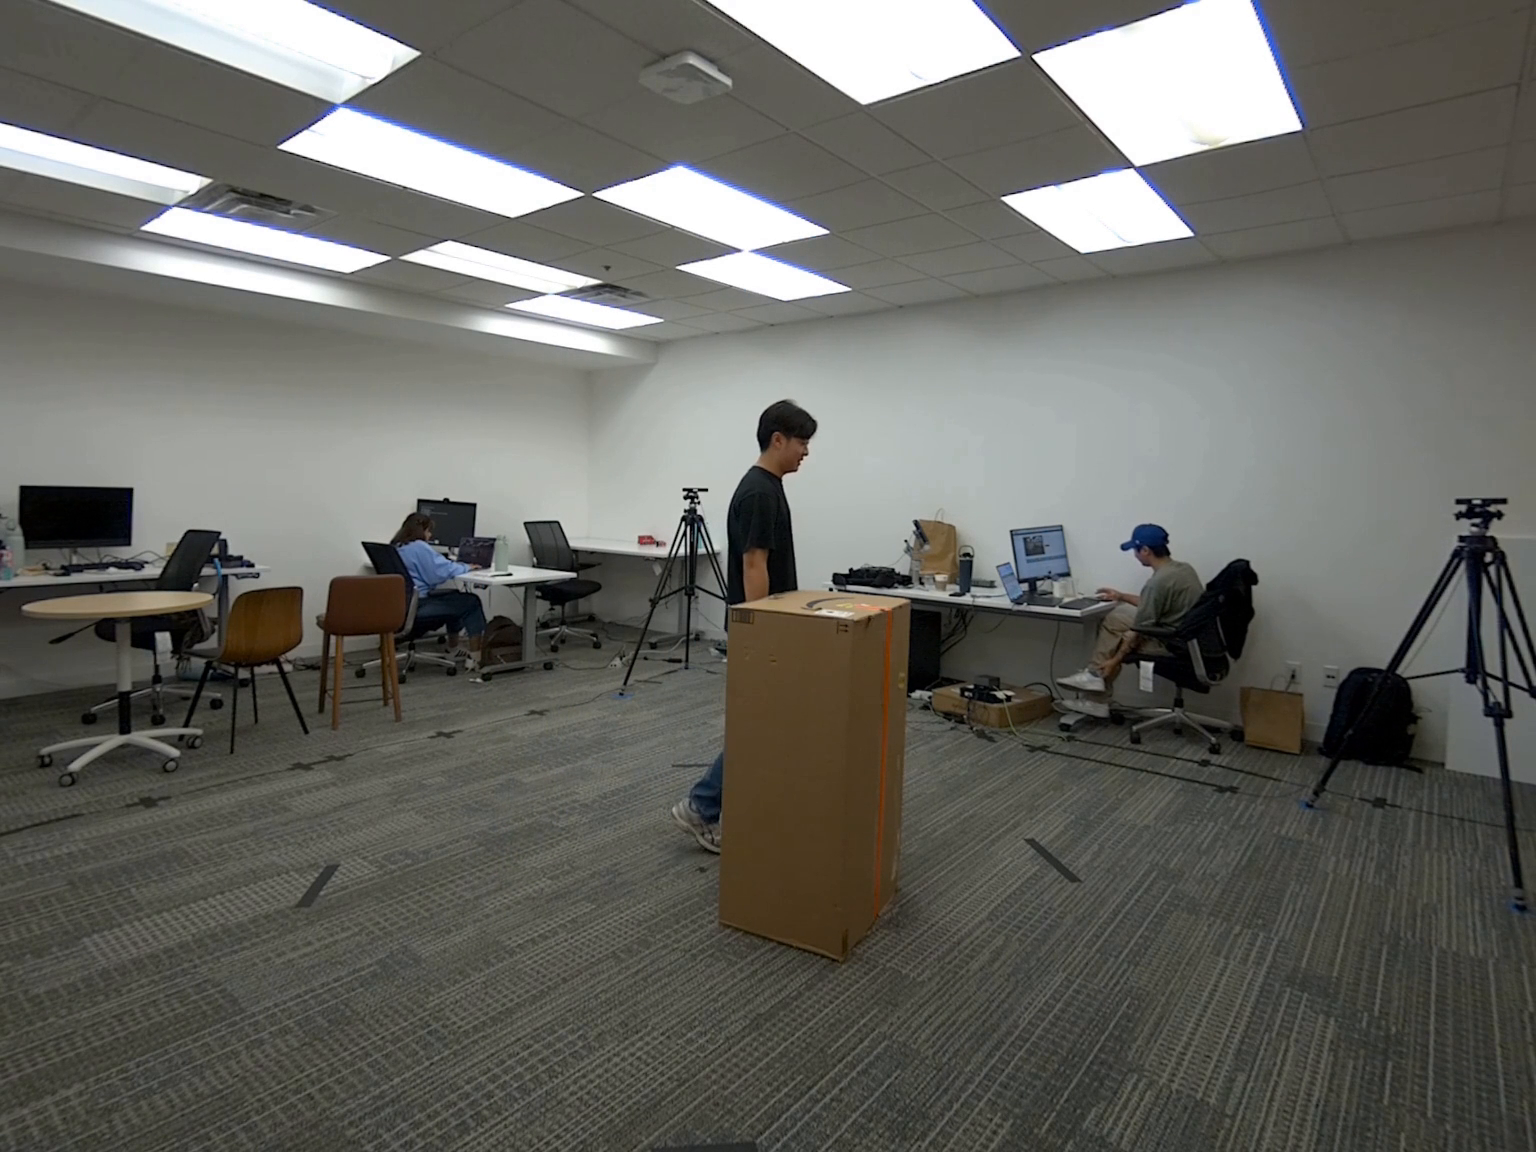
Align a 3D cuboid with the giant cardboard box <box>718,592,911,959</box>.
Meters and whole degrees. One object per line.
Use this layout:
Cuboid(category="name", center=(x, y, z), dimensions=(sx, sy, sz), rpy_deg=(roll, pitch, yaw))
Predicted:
Cuboid(category="giant cardboard box", center=(0.165, 0.591, 2.834), dimensions=(0.460, 1.024, 0.569), rpy_deg=(4, 4, 28))
